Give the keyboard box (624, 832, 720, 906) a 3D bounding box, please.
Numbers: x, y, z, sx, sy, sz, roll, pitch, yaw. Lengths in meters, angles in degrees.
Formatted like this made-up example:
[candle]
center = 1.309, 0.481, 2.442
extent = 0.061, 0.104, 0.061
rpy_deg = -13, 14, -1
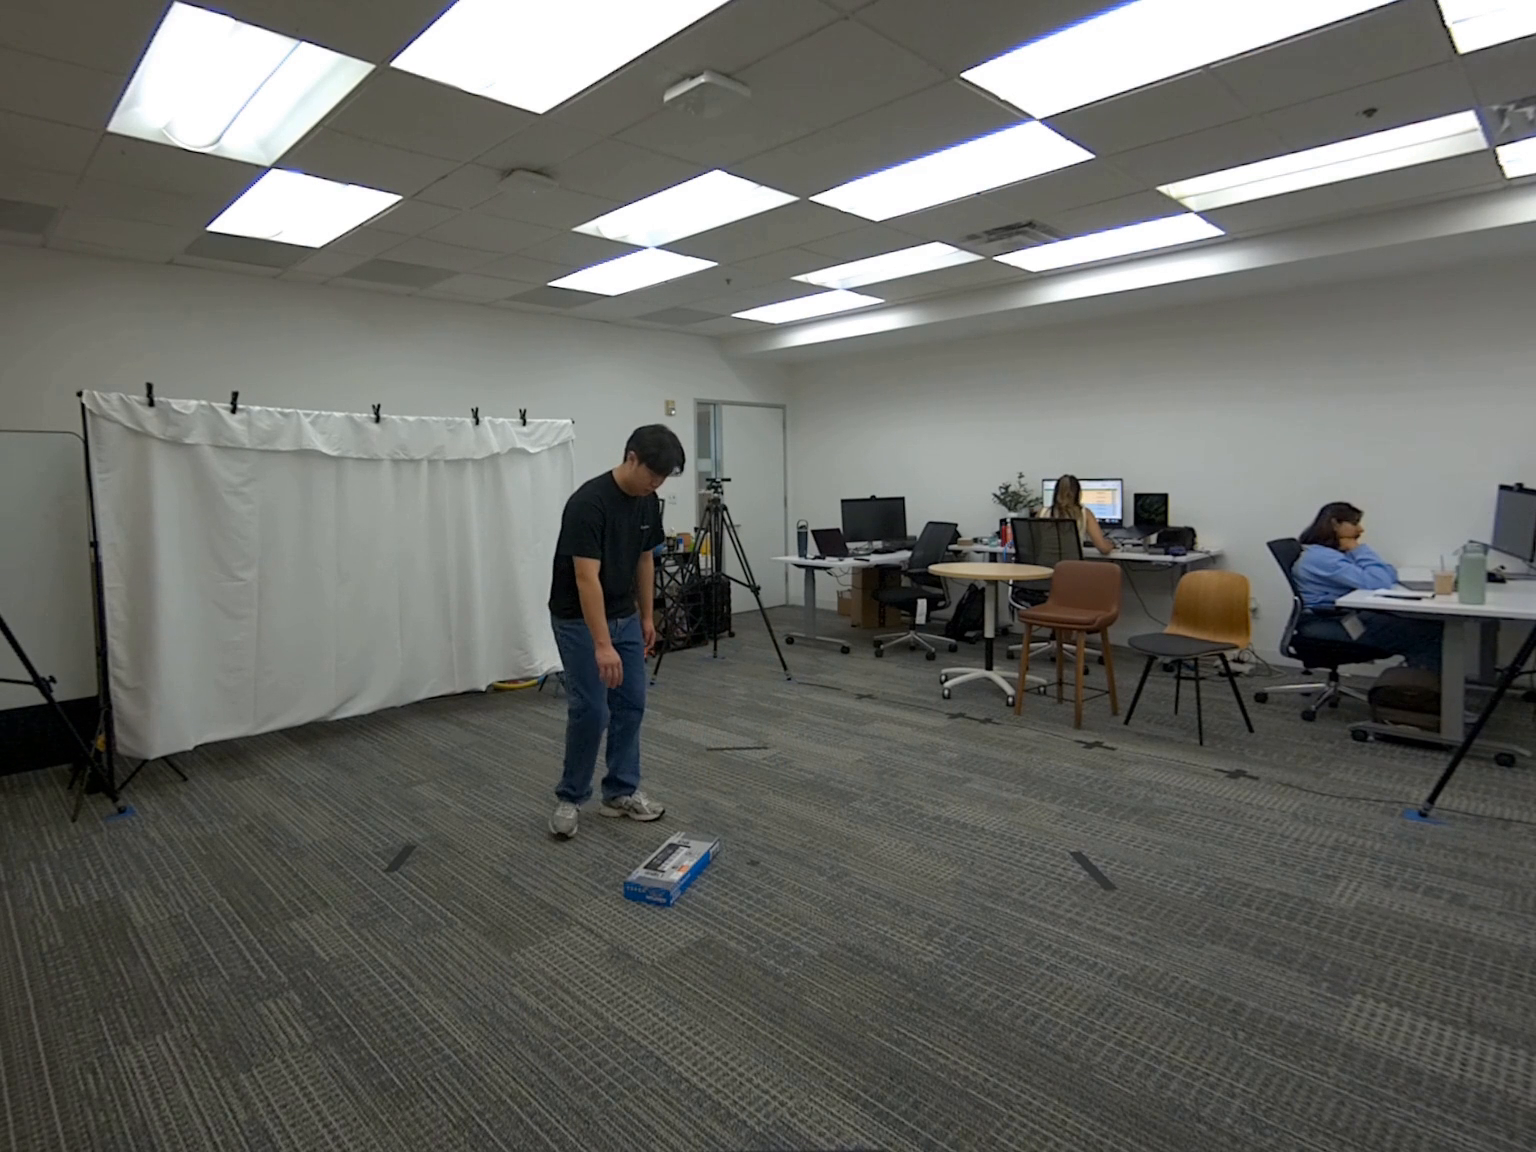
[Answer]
[keyboard box]
center = -0.327, 1.026, 3.023
extent = 0.179, 0.059, 0.430
rpy_deg = 2, 7, 20
